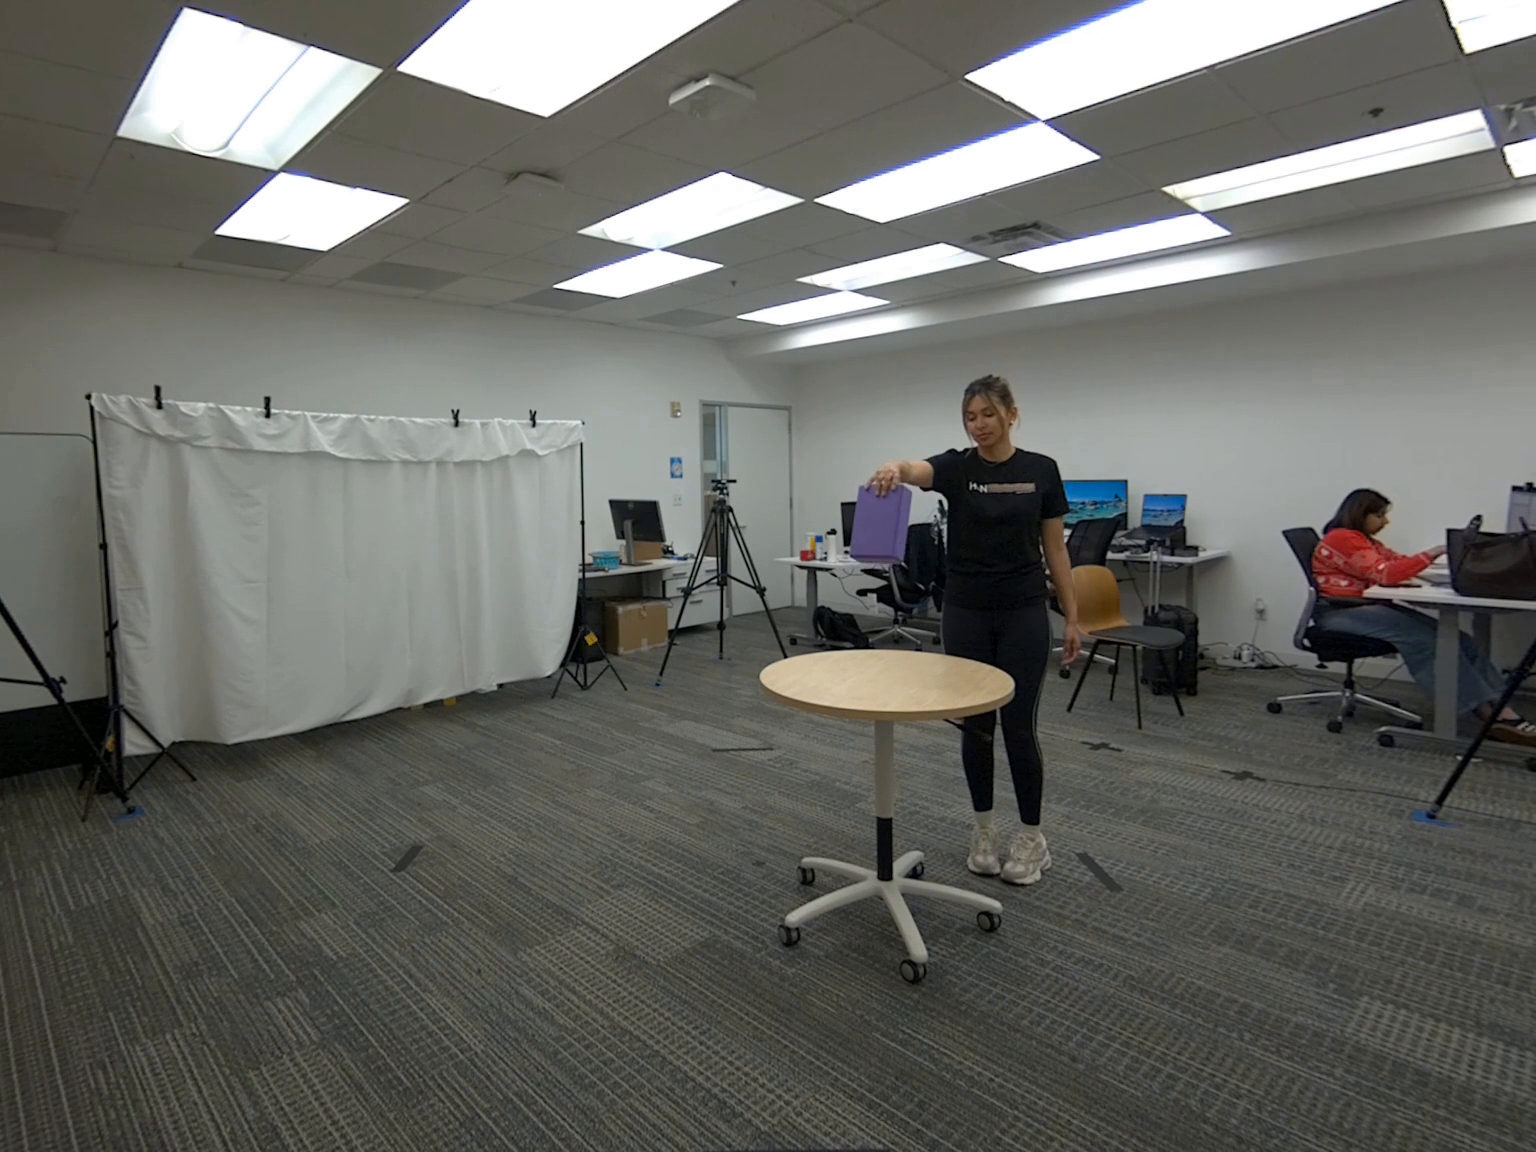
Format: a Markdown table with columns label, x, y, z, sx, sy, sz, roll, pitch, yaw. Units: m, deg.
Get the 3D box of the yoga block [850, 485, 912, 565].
| label | x | y | z | sx | sy | sz | roll | pitch | yaw |
| --- | --- | --- | --- | --- | --- | --- | --- | --- | --- |
| yoga block | 0.337 | -0.153 | 2.523 | 0.153 | 0.232 | 0.073 | 0 | -17 | 35 |
